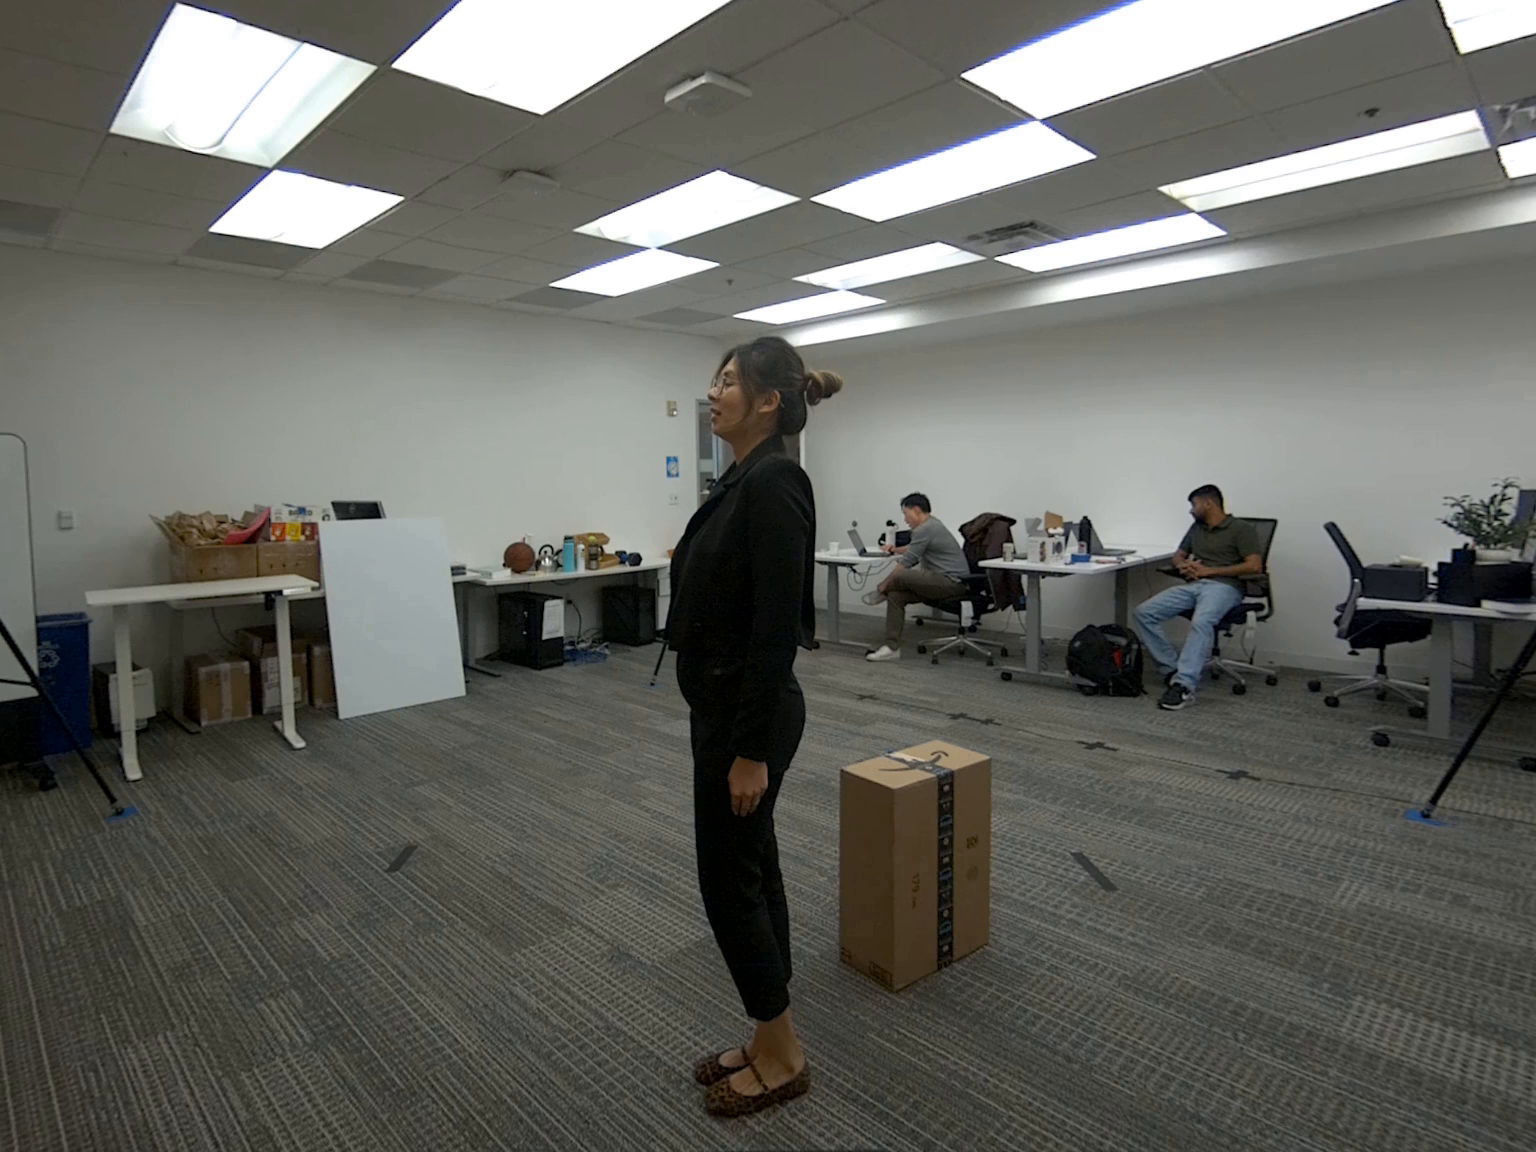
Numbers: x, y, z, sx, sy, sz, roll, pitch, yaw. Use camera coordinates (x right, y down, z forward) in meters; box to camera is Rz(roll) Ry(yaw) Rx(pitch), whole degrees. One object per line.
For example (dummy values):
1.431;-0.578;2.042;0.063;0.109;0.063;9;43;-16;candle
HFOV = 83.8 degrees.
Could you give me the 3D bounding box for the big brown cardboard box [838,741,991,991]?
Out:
0.427;0.826;2.504;0.407;0.587;0.240;-3;5;-36;big brown cardboard box
